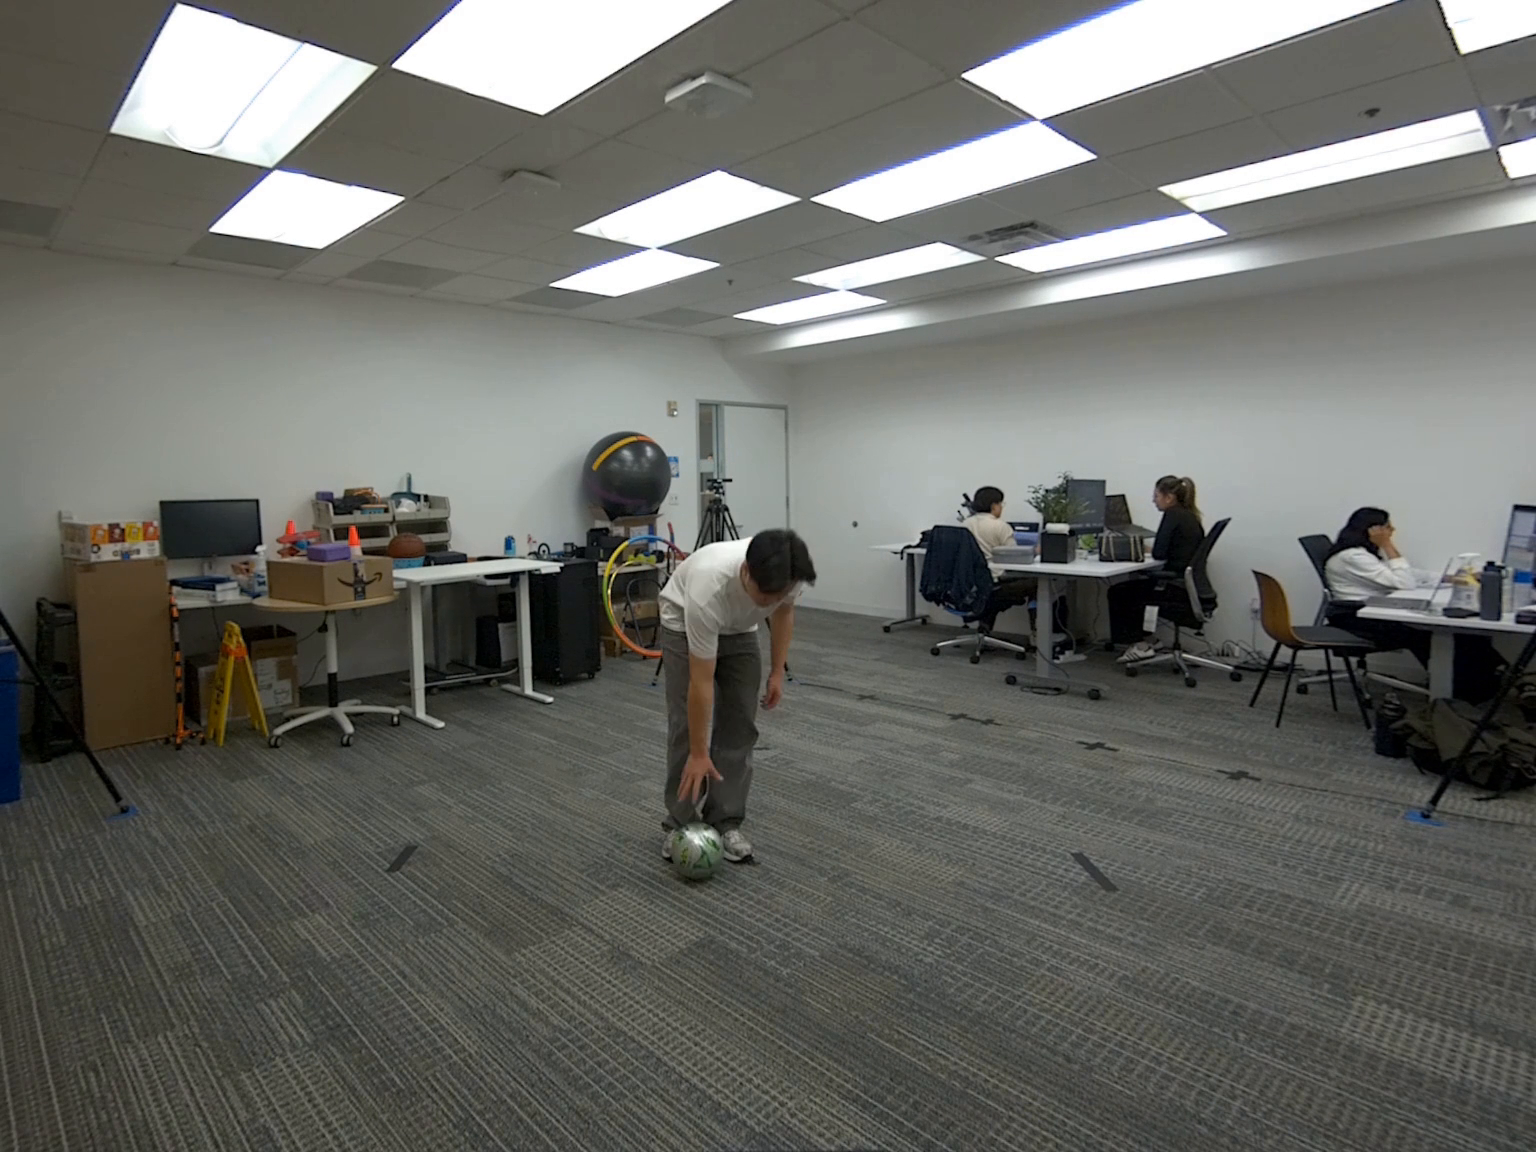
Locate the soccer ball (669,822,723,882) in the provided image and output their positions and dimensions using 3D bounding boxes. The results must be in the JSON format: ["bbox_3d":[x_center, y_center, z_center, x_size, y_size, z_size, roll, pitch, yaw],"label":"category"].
[{"bbox_3d":[-0.242,0.976,2.994,0.187,0.187,0.188,-1,5,-2],"label":"soccer ball"}]
